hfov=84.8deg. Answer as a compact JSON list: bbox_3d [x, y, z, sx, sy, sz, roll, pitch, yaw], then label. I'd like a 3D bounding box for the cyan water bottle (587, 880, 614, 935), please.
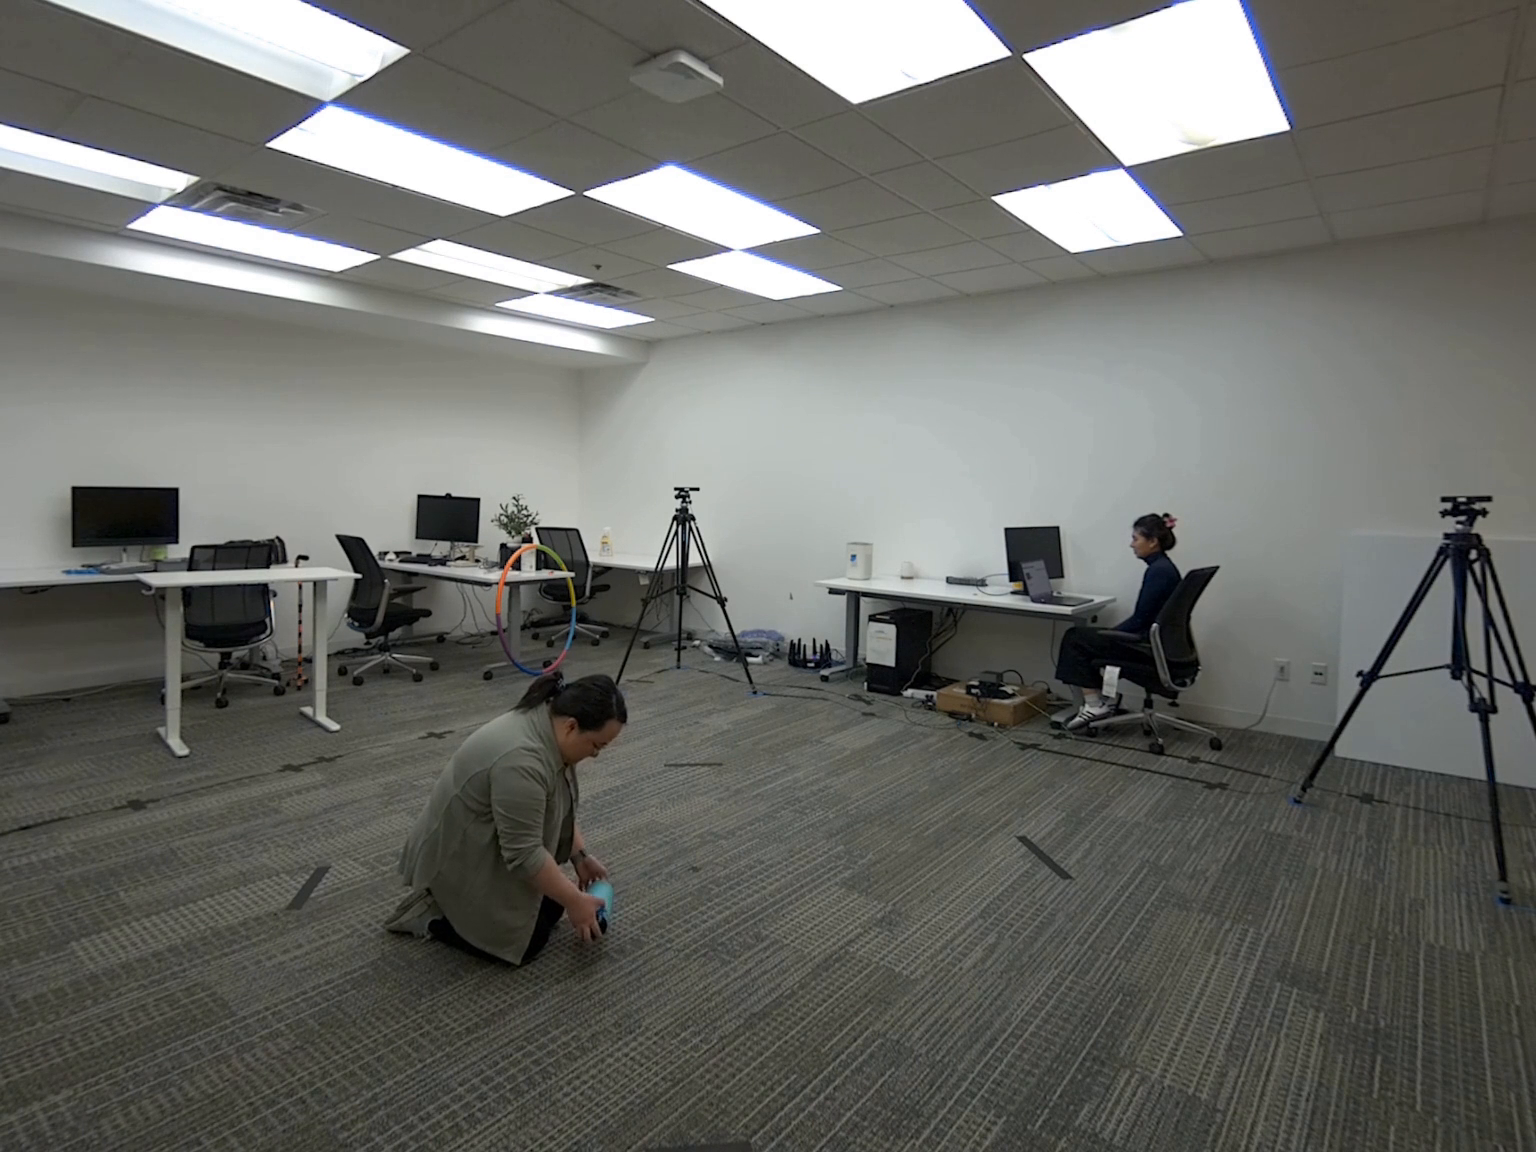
[{"bbox_3d":[-0.529,1.005,2.547,0.091,0.092,0.285,0,-1,-8],"label":"cyan water bottle"}]
